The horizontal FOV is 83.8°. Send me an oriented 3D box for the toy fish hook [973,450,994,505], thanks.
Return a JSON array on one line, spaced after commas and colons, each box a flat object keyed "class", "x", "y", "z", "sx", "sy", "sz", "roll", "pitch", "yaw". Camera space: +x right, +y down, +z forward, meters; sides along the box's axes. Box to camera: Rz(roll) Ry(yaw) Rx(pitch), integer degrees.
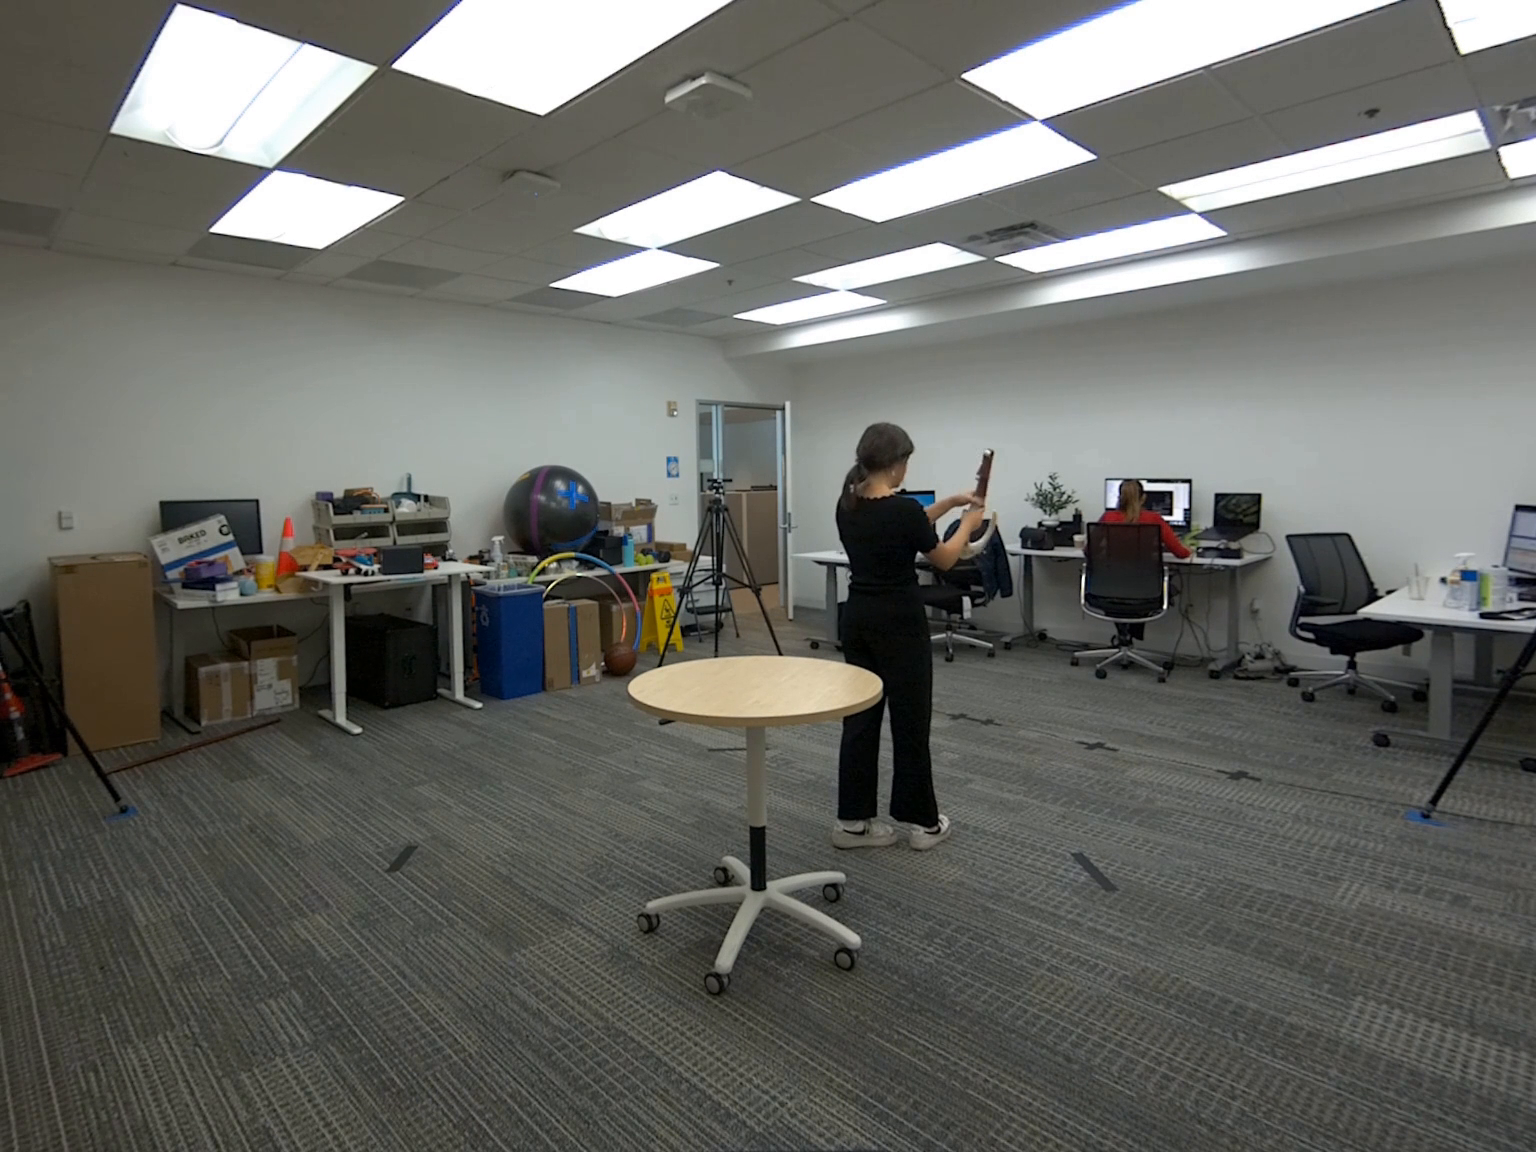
[{"class": "toy fish hook", "x": 0.858, "y": -0.279, "z": 3.412, "sx": 0.221, "sy": 0.495, "sz": 0.050, "roll": -19, "pitch": 41, "yaw": -34}]
